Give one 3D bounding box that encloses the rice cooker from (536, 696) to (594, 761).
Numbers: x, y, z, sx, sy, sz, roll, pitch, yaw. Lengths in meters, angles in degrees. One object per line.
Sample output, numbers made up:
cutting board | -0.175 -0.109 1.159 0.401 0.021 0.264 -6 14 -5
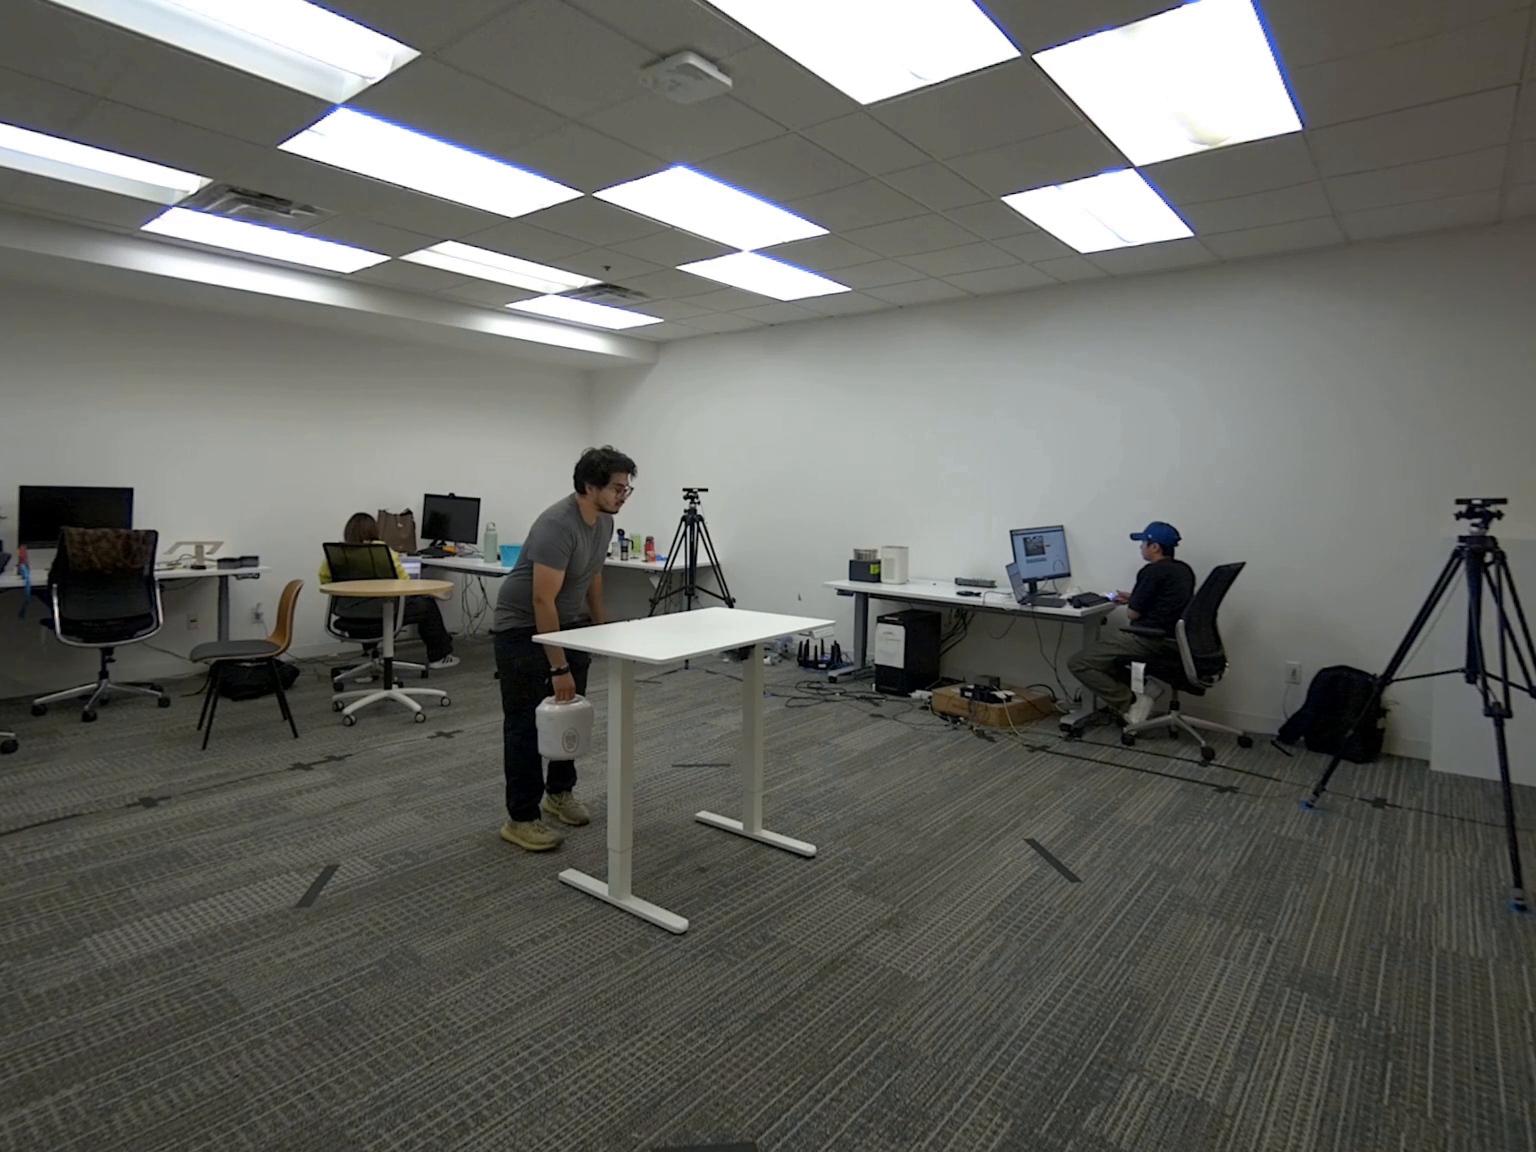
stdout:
rice cooker | -0.785 0.559 3.230 0.216 0.232 0.222 -2 2 -21
